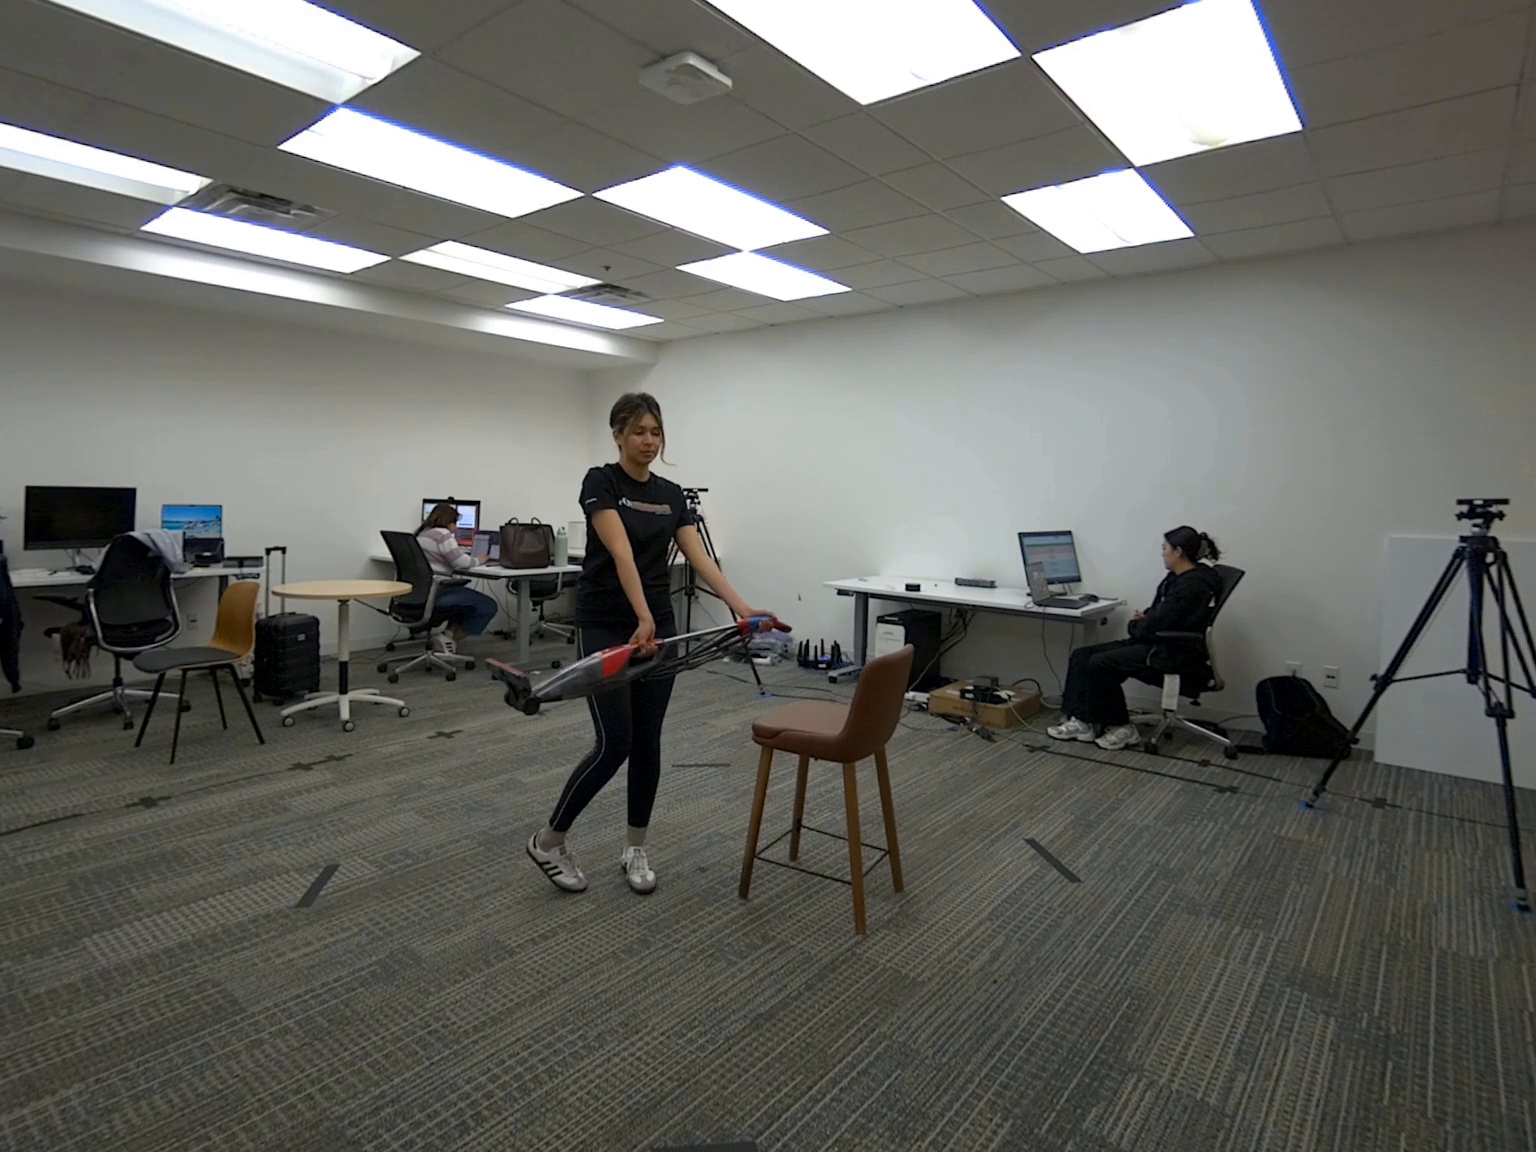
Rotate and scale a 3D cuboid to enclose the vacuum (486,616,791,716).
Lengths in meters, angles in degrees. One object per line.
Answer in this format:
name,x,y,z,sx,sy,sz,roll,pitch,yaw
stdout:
vacuum,-0.341,0.262,2.683,1.021,0.143,0.261,-9,12,-38
